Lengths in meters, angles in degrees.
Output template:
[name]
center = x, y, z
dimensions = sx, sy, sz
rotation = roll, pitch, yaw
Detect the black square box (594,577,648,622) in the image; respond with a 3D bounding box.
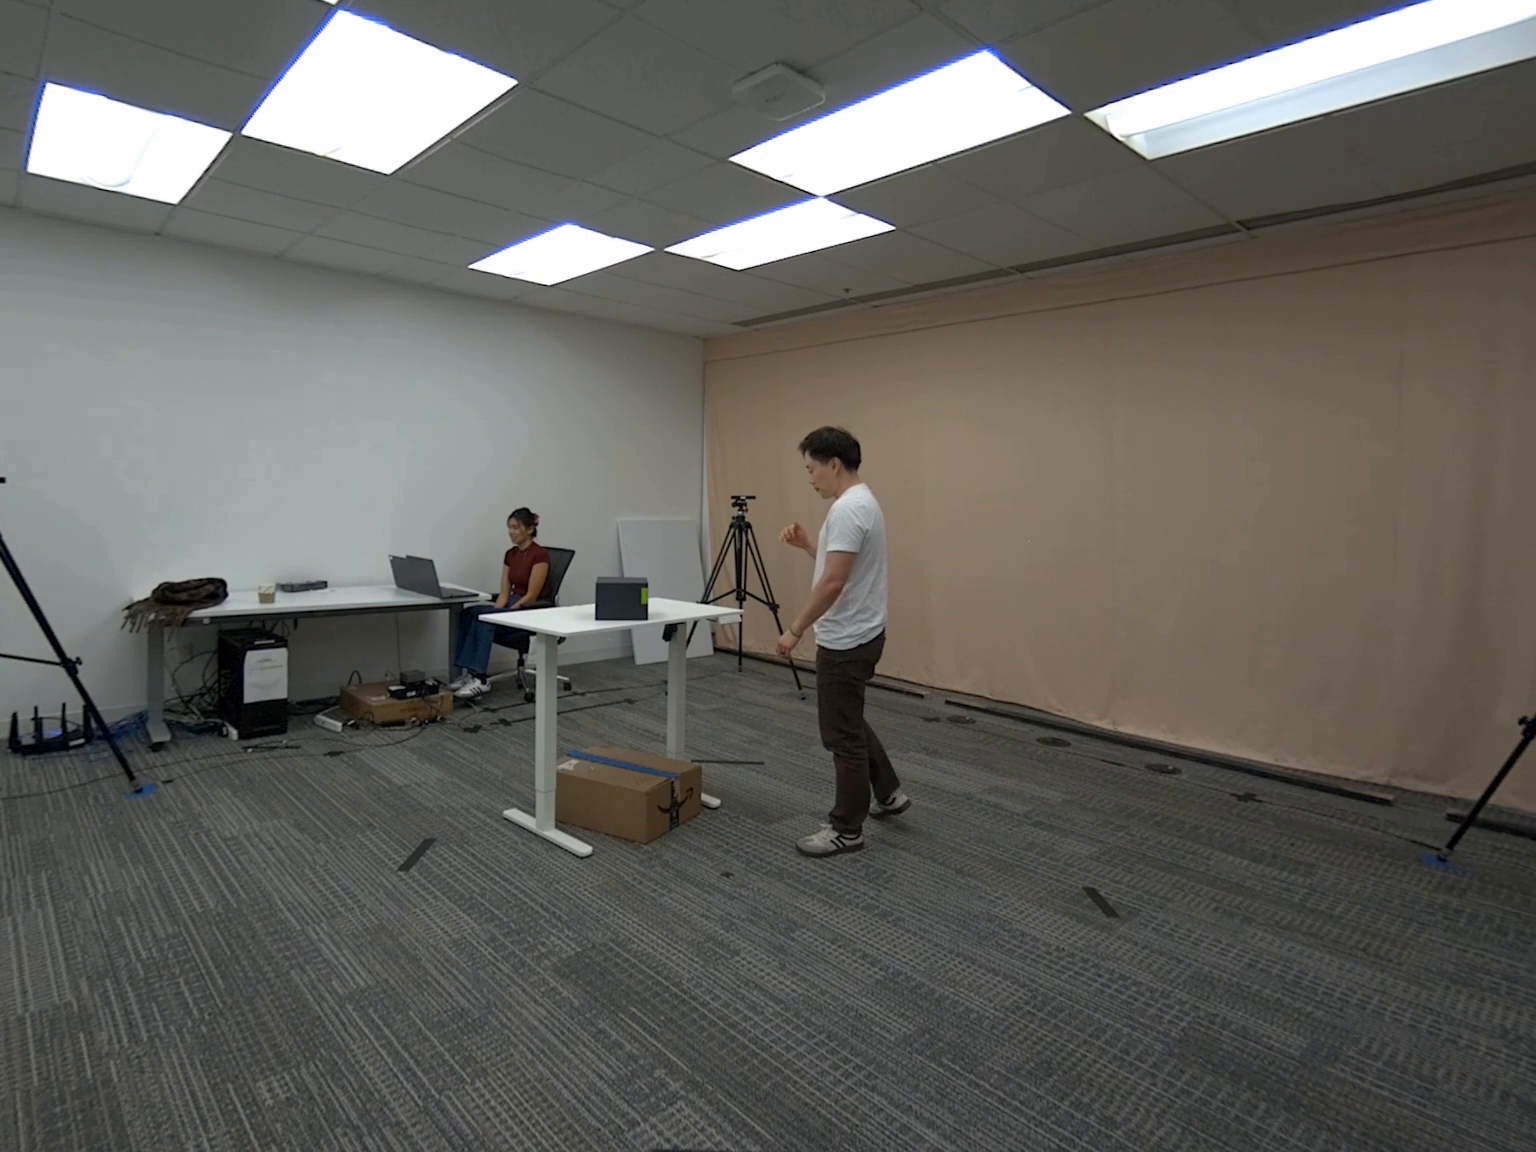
[black square box]
center = -0.621, 0.091, 3.528
dimensions = 0.215, 0.155, 0.230
rotation = 0, 5, -11
